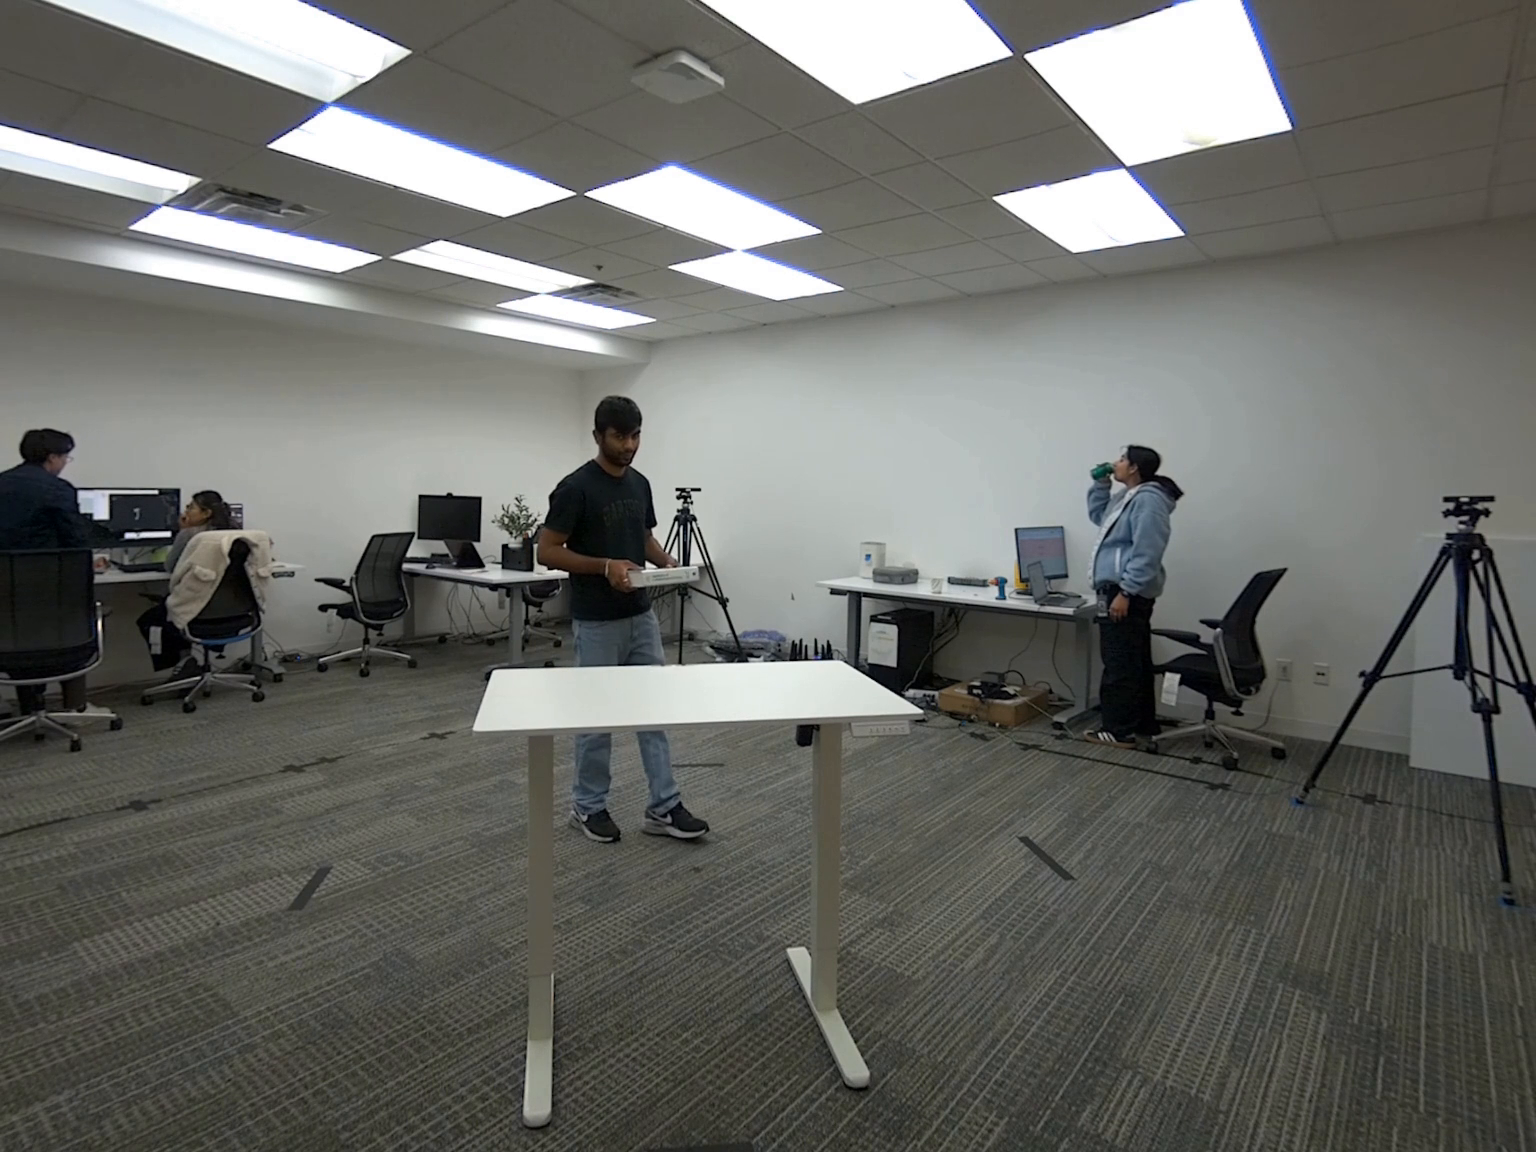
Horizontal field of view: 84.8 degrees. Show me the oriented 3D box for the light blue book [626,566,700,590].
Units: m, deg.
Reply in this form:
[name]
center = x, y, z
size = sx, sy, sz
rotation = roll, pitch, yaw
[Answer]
[light blue book]
center = -0.419, 0.001, 3.211
size = 0.255, 0.059, 0.196
rotation = -6, 3, -26
